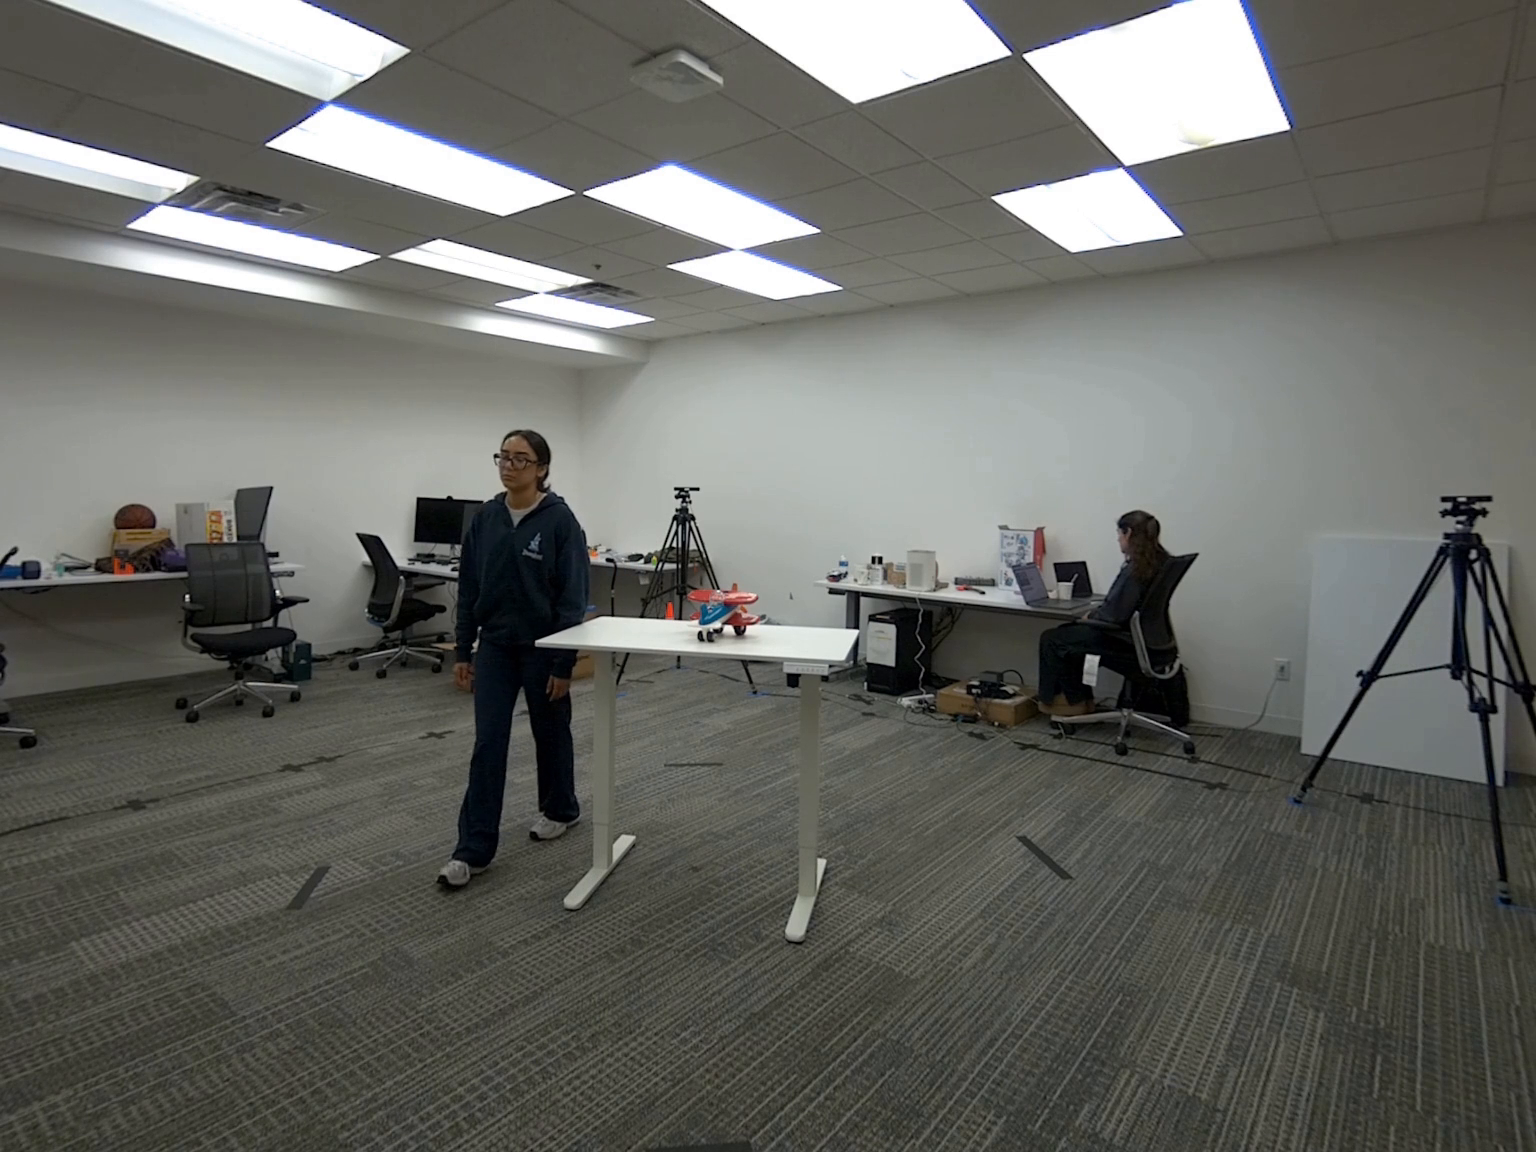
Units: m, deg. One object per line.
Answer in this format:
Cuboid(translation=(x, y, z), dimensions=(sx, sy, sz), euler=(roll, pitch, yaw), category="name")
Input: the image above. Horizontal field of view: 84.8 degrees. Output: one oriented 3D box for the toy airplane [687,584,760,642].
Cuboid(translation=(-0.156, 0.133, 2.894), dimensions=(0.250, 0.156, 0.261), euler=(0, 4, -4), category="toy airplane")
